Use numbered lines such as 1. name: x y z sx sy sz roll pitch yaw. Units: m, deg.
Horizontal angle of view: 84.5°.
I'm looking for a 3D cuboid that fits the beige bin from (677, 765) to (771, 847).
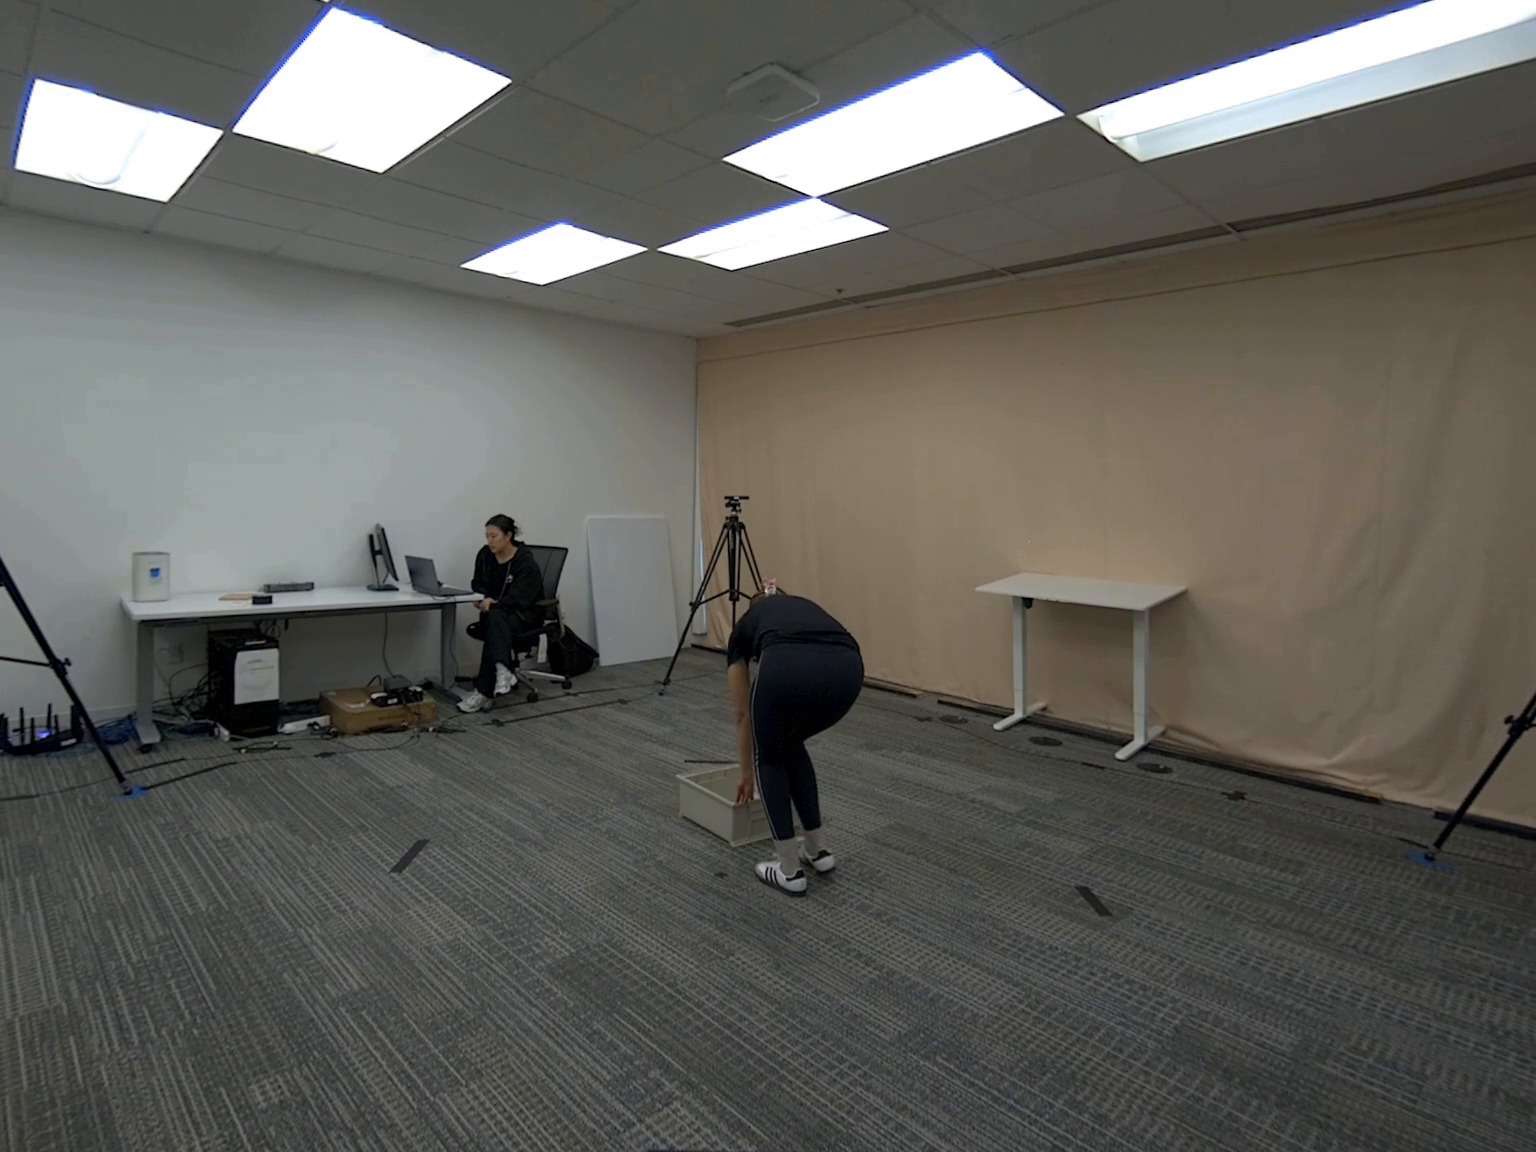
1. beige bin: -0.133 0.967 3.615 0.369 0.188 0.433 -4 8 -37
